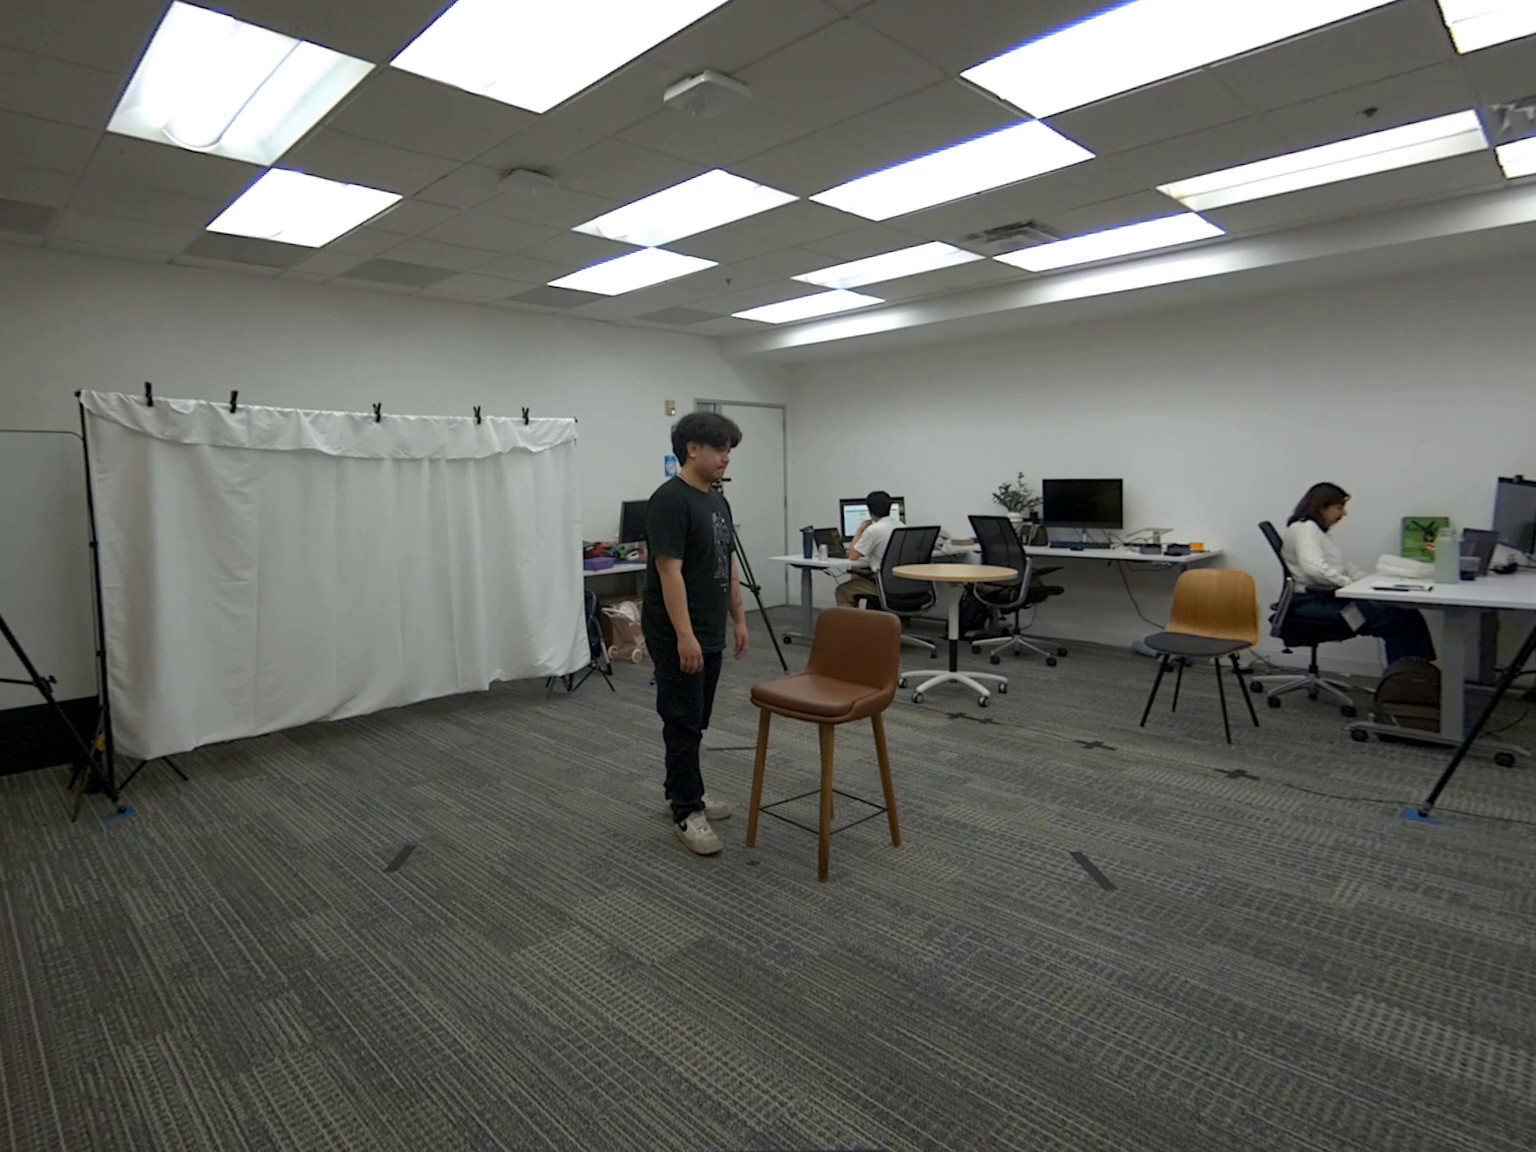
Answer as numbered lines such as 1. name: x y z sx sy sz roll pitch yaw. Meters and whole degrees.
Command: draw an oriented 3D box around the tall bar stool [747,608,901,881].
1. tall bar stool: 0.218 0.589 3.214 0.454 0.888 0.470 -1 3 -41
